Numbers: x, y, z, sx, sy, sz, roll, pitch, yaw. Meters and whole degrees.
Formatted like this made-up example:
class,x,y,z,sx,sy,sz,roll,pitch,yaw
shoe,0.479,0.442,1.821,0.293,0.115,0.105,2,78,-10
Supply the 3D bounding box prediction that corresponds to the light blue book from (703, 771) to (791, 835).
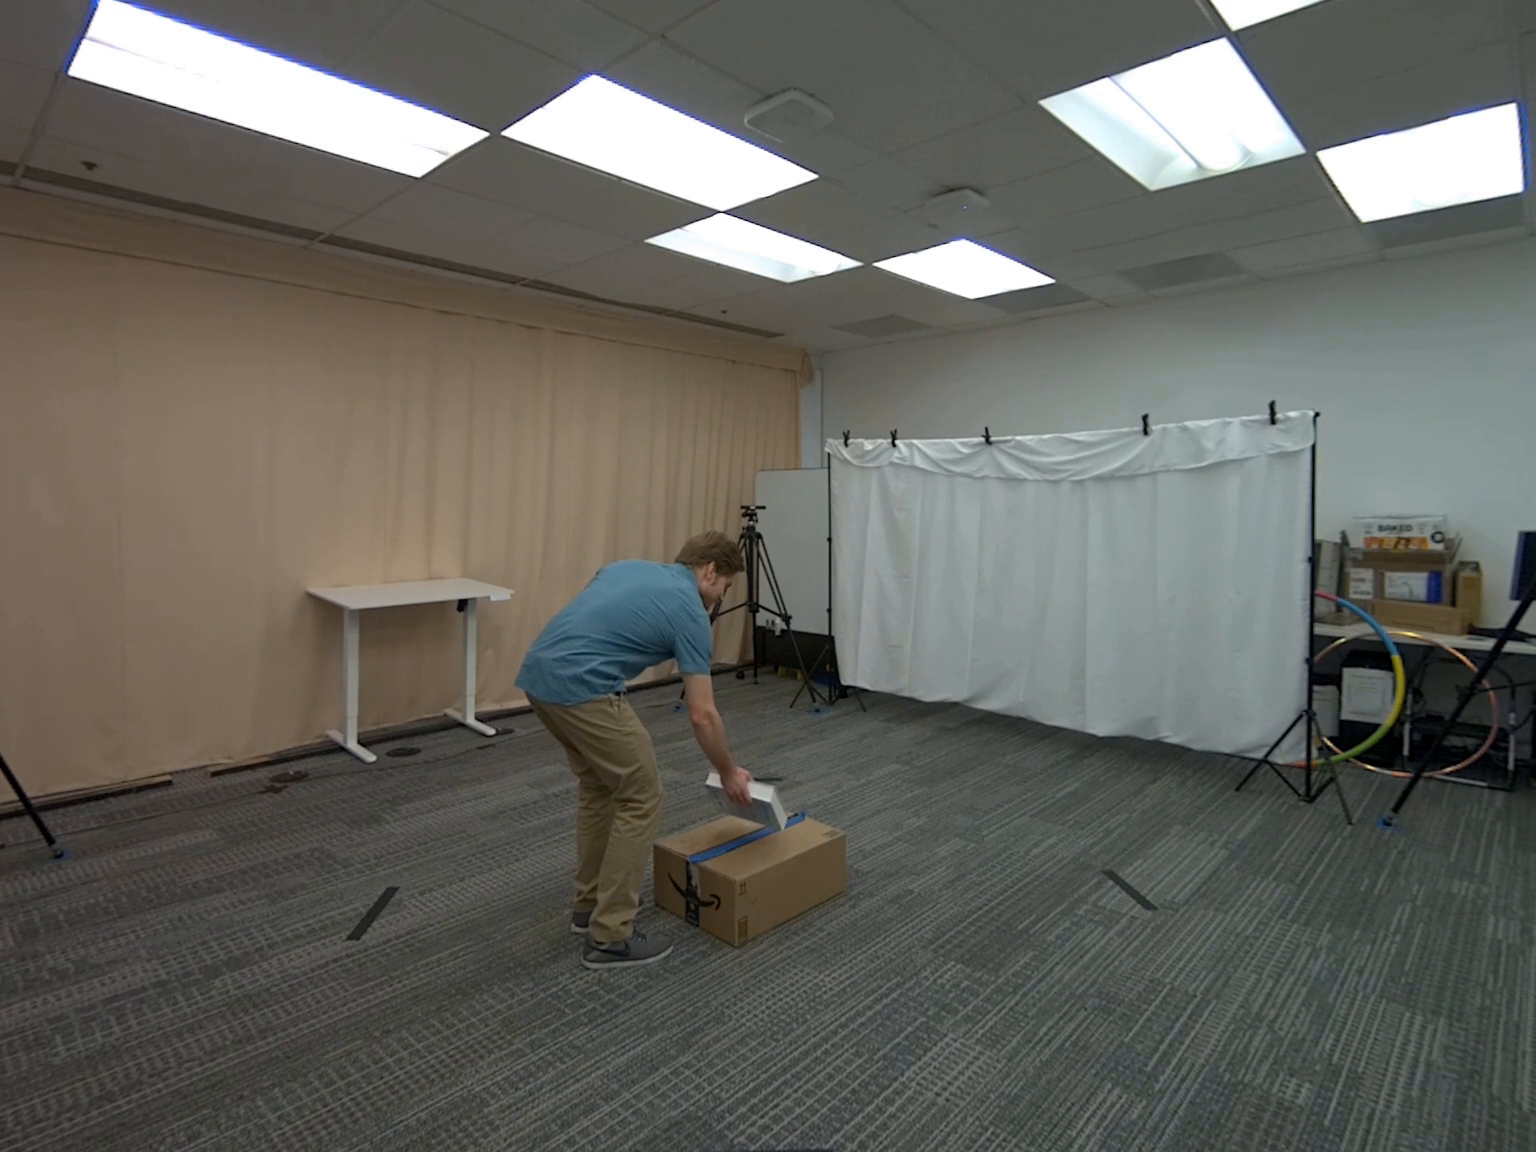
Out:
class,x,y,z,sx,sy,sz,roll,pitch,yaw
light blue book,-0.073,0.787,2.947,0.268,0.186,0.059,7,47,28
